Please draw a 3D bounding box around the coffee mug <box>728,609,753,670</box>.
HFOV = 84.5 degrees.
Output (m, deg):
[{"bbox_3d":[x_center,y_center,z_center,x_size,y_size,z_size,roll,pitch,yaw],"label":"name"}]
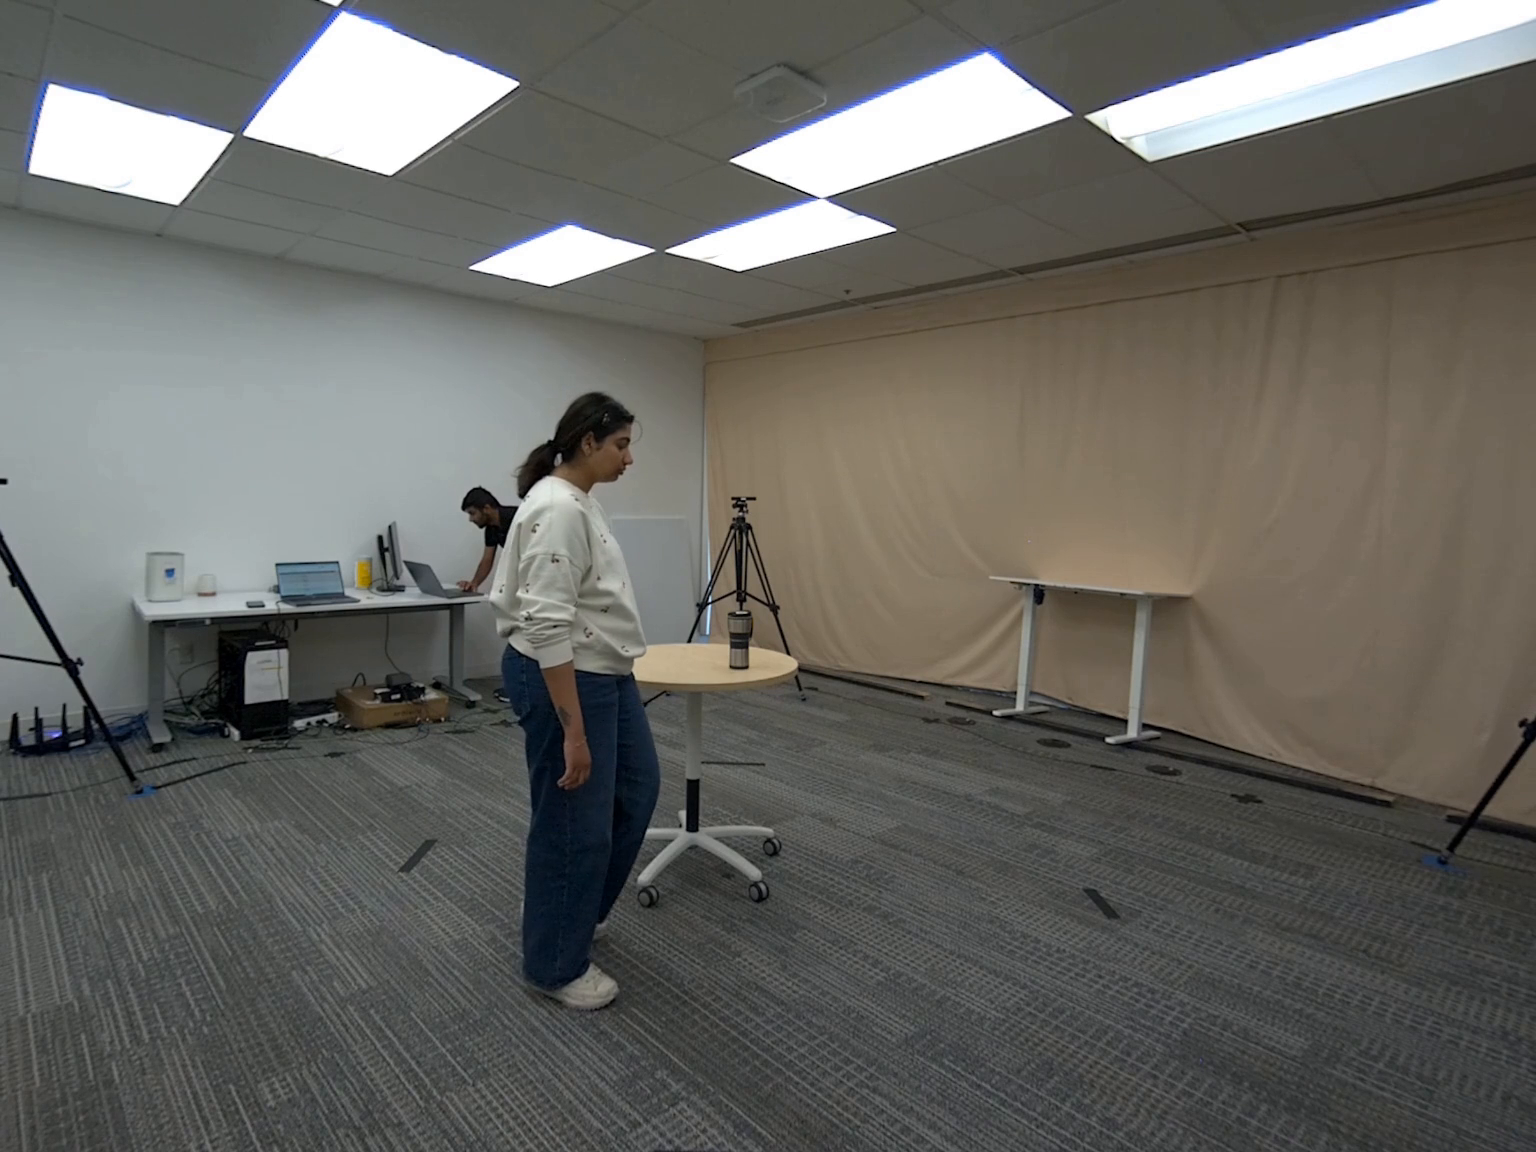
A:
[{"bbox_3d":[-0.092,0.229,3.029,0.119,0.203,0.090,-4,0,-36],"label":"coffee mug"}]
